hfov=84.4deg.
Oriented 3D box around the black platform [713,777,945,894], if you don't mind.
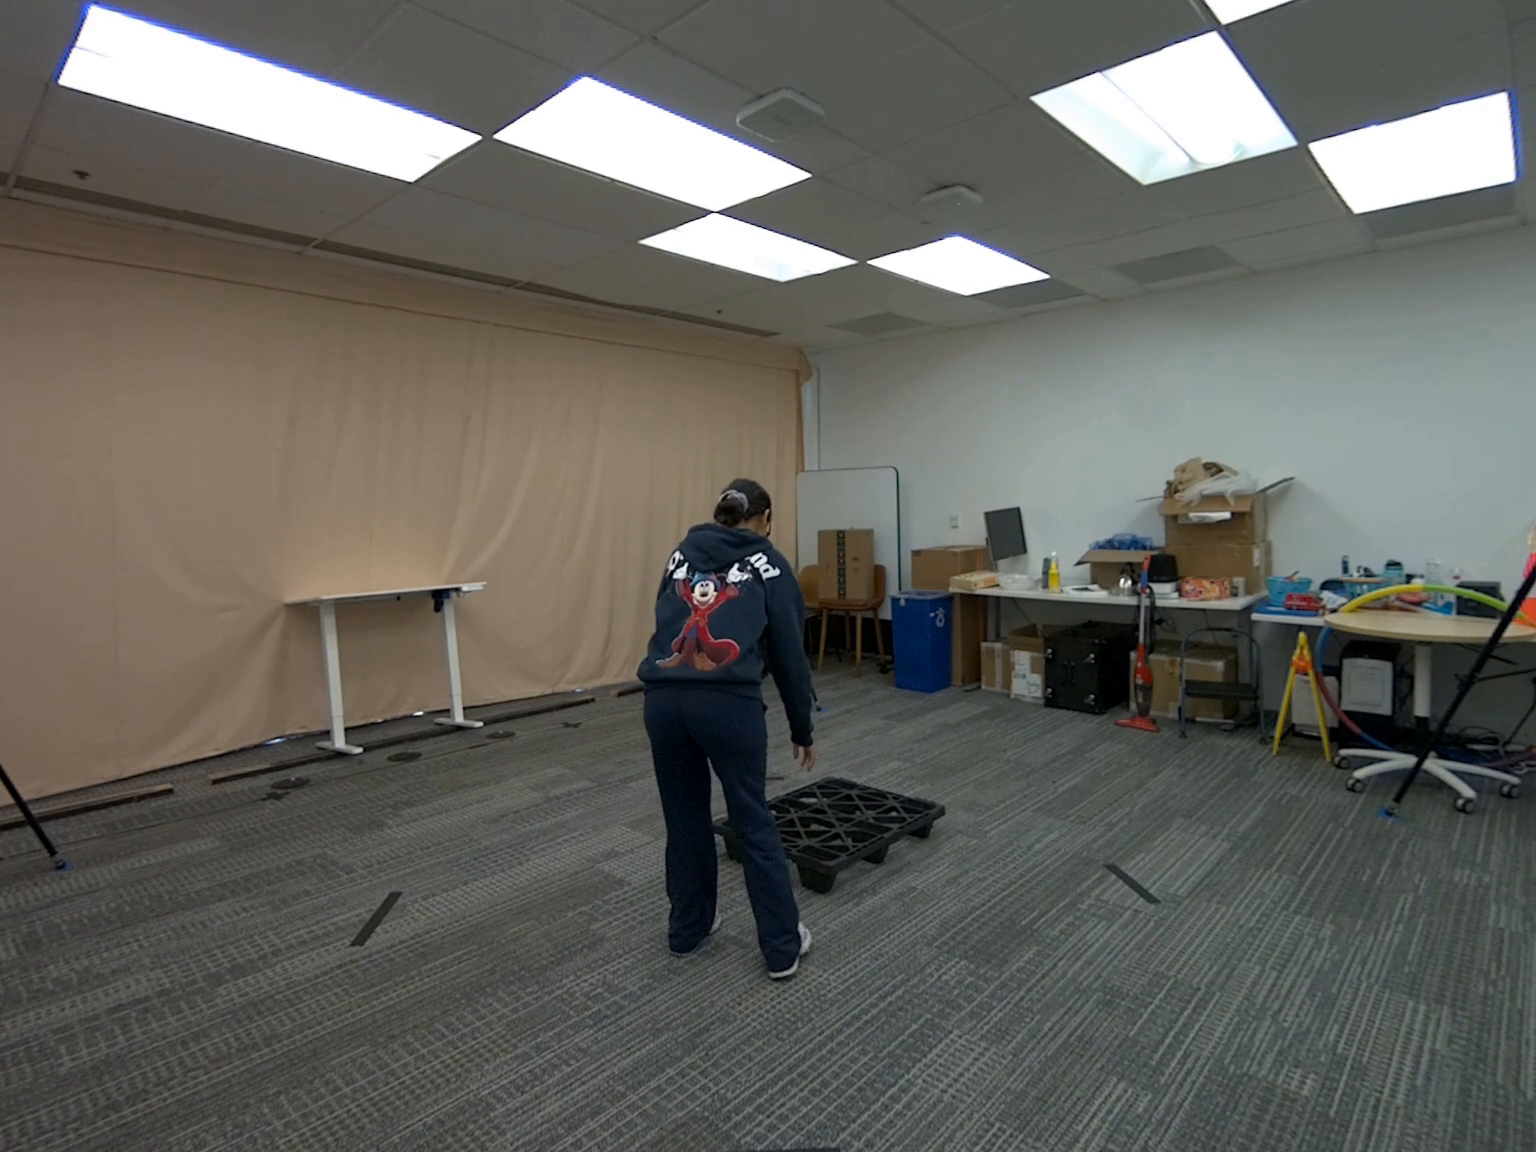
[{"bbox_3d":[0.255,1.034,3.413,0.625,0.143,0.781,2,5,43],"label":"black platform"}]
